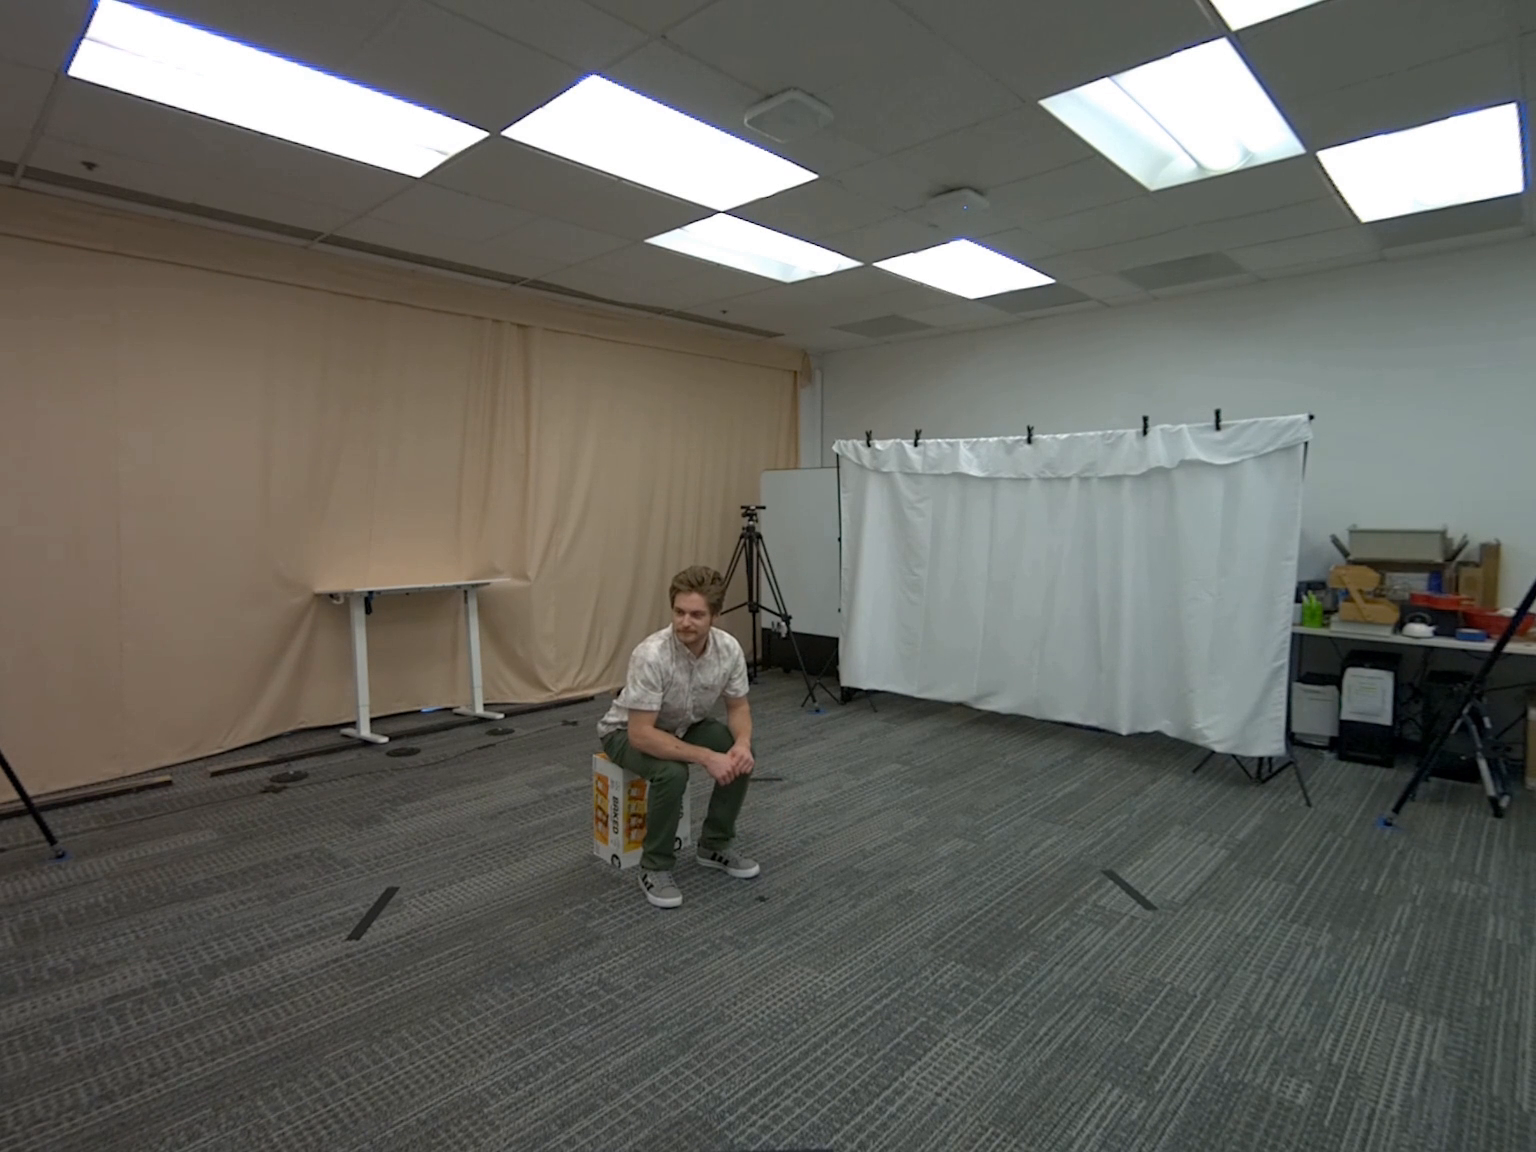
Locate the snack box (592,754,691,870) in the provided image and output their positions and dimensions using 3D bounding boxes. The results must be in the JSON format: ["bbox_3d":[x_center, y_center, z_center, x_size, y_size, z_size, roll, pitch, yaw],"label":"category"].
[{"bbox_3d":[-0.513,0.913,3.408,0.330,0.404,0.213,-4,7,-44],"label":"snack box"}]
